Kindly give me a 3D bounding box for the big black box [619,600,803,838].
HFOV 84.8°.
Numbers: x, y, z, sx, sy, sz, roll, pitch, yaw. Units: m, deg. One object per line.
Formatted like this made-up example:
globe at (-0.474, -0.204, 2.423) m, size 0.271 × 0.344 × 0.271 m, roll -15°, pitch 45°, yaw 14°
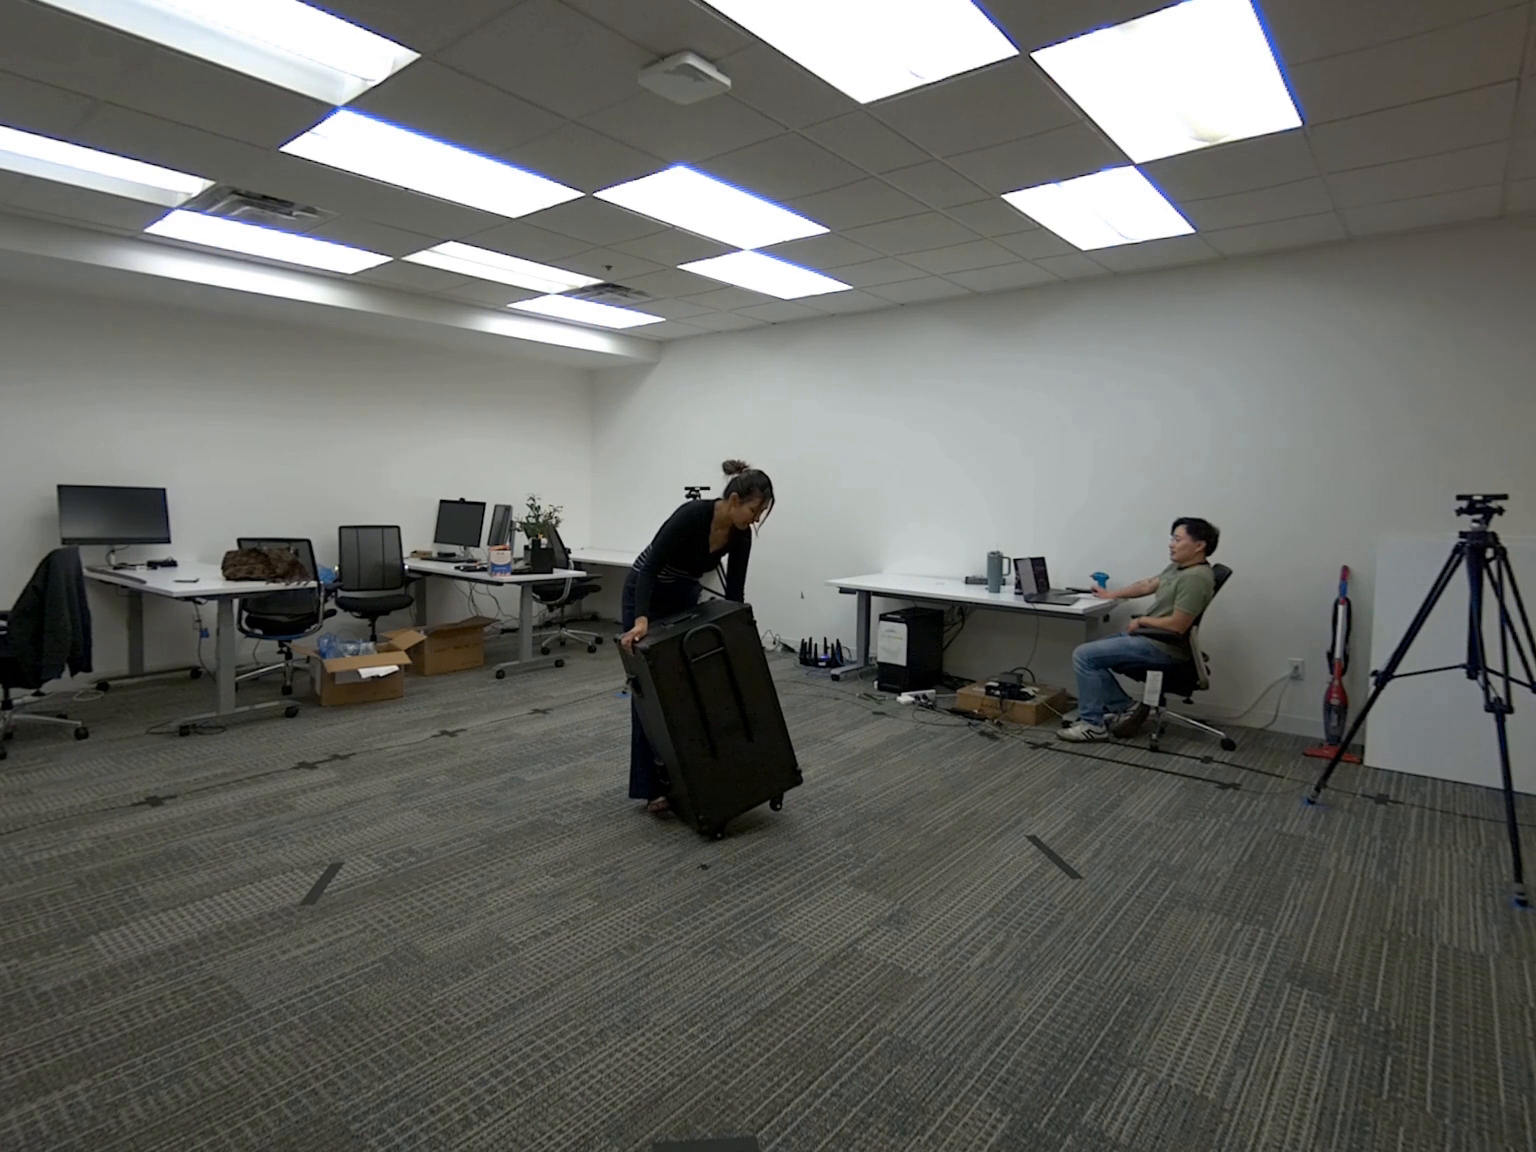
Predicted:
big black box at (-0.239, 0.577, 3.488) m, size 0.514 × 0.852 × 0.406 m, roll -20°, pitch 10°, yaw -24°
